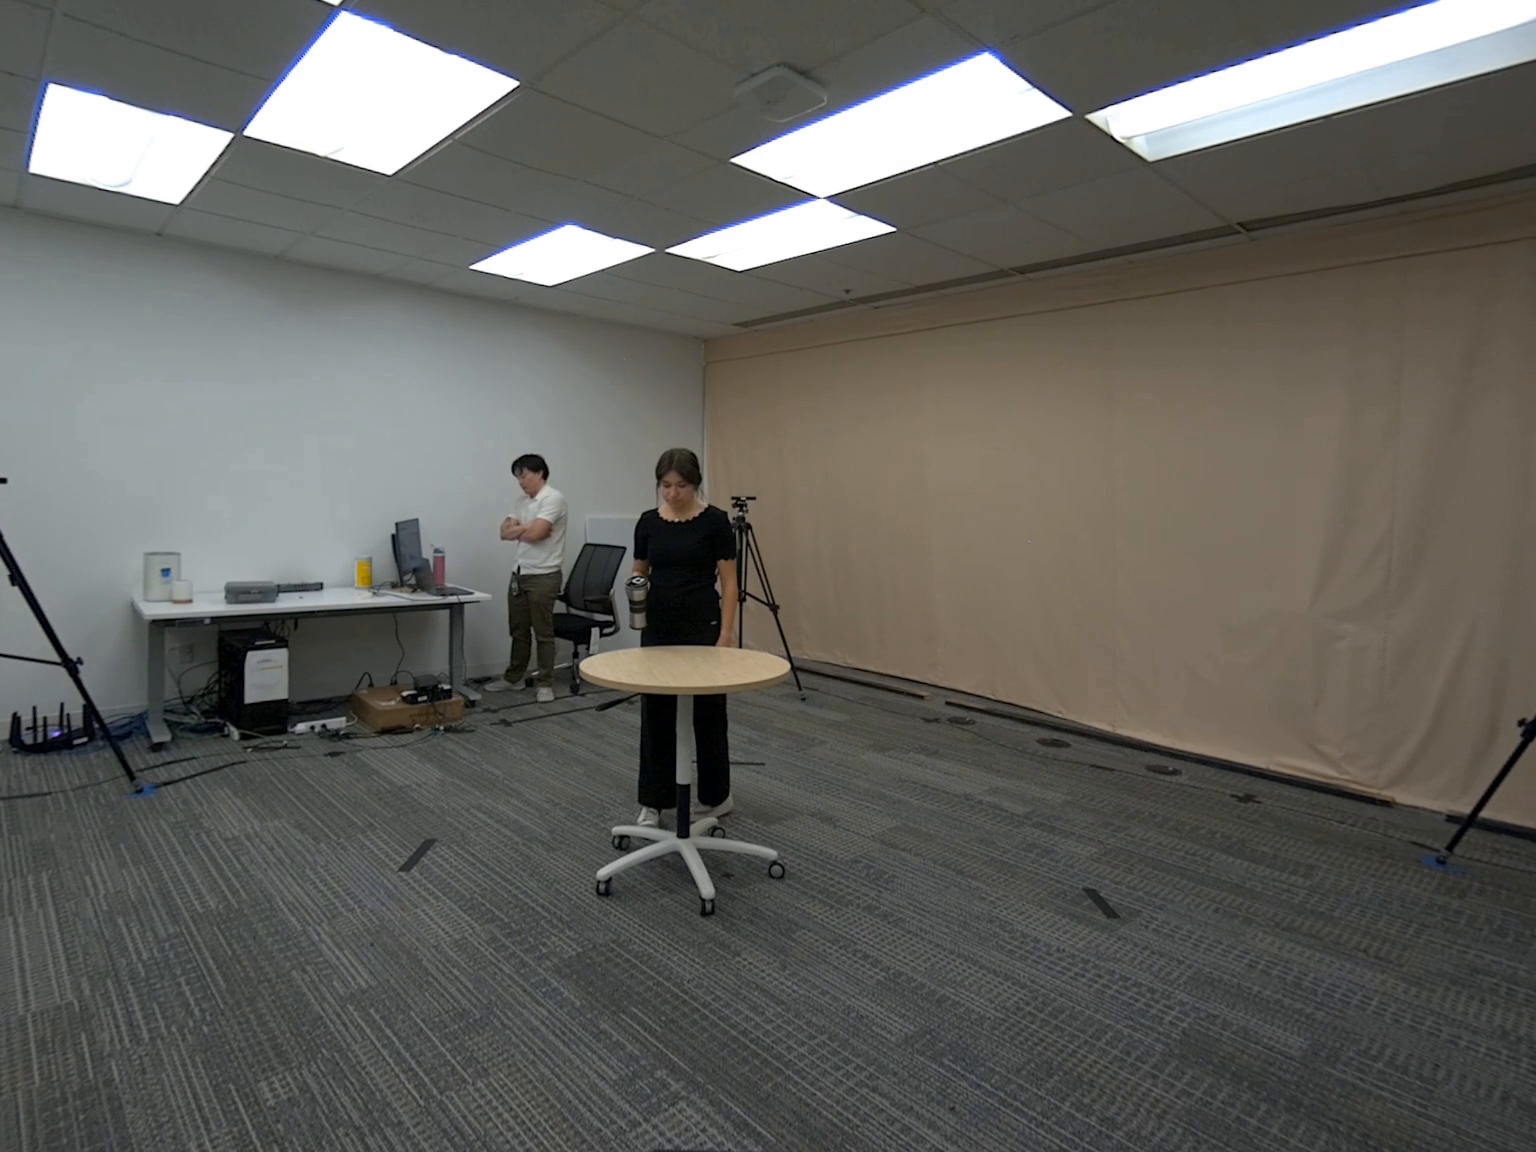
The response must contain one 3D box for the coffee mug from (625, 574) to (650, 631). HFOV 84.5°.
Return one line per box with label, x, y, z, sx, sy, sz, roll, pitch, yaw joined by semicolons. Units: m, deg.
coffee mug;-0.551;0.114;3.355;0.121;0.200;0.089;3;20;-6
